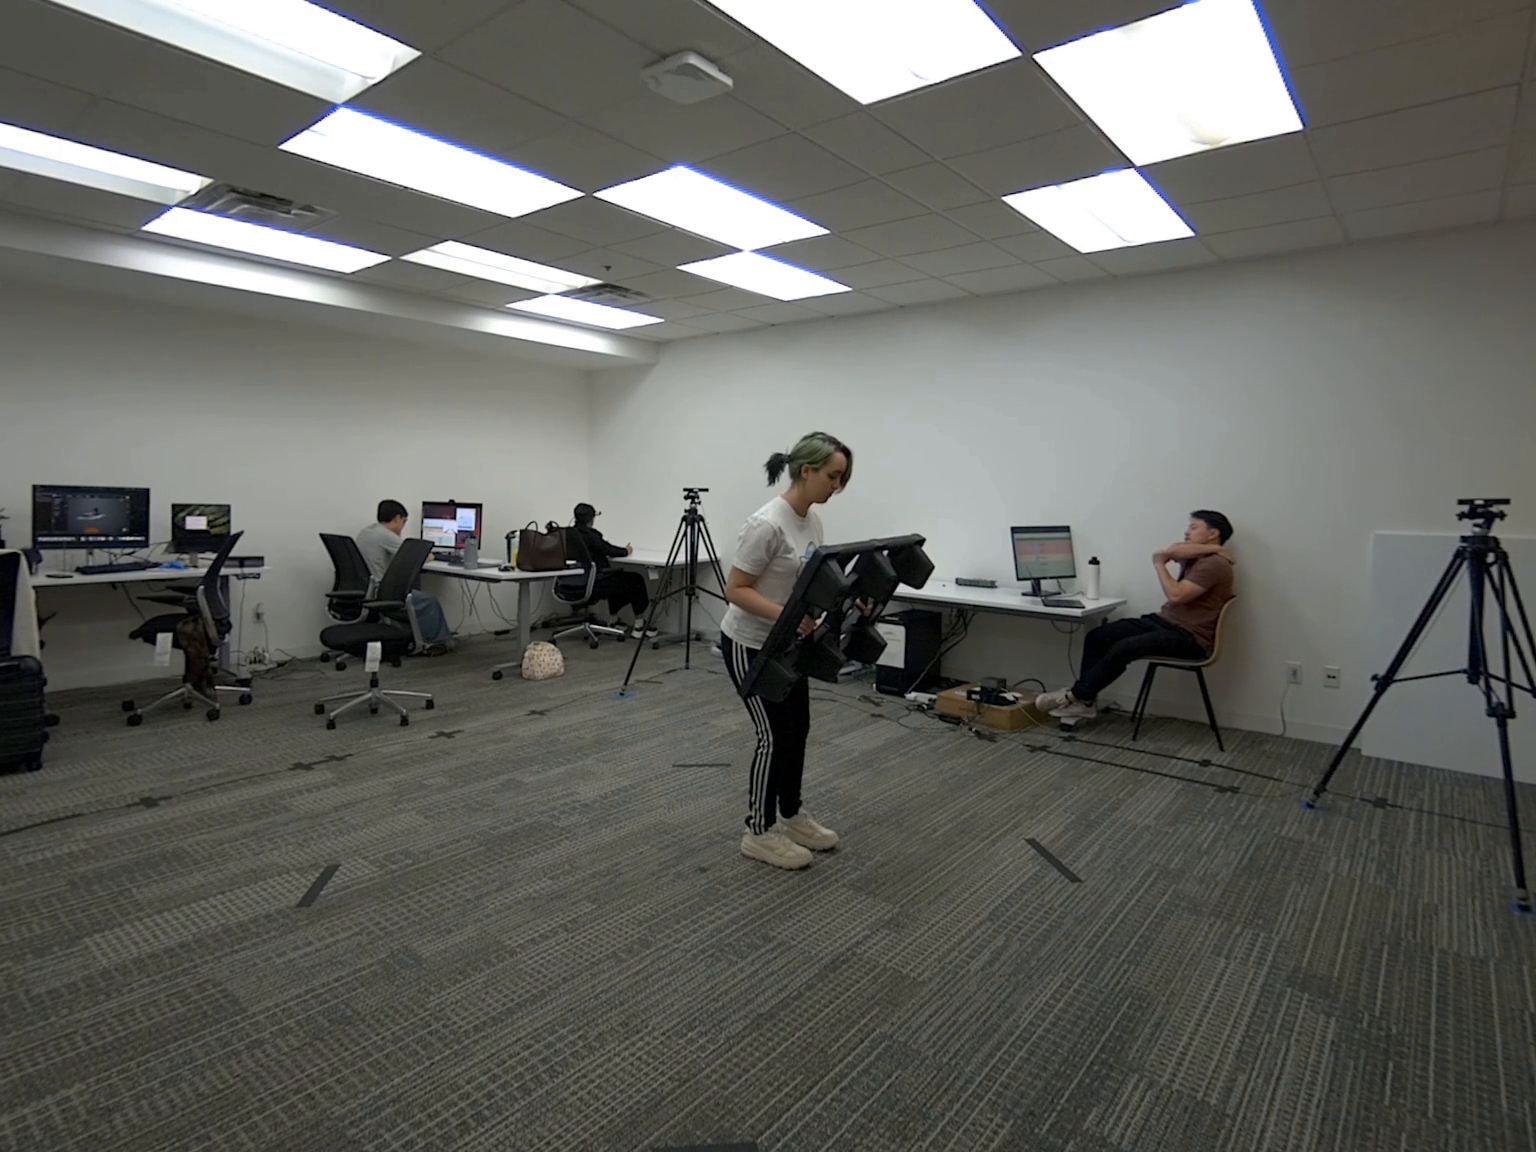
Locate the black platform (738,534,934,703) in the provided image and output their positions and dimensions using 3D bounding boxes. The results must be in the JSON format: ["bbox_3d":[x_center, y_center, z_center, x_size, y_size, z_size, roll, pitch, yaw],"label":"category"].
[{"bbox_3d":[0.274,0.156,3.030,0.148,0.600,0.784,38,24,26],"label":"black platform"}]
